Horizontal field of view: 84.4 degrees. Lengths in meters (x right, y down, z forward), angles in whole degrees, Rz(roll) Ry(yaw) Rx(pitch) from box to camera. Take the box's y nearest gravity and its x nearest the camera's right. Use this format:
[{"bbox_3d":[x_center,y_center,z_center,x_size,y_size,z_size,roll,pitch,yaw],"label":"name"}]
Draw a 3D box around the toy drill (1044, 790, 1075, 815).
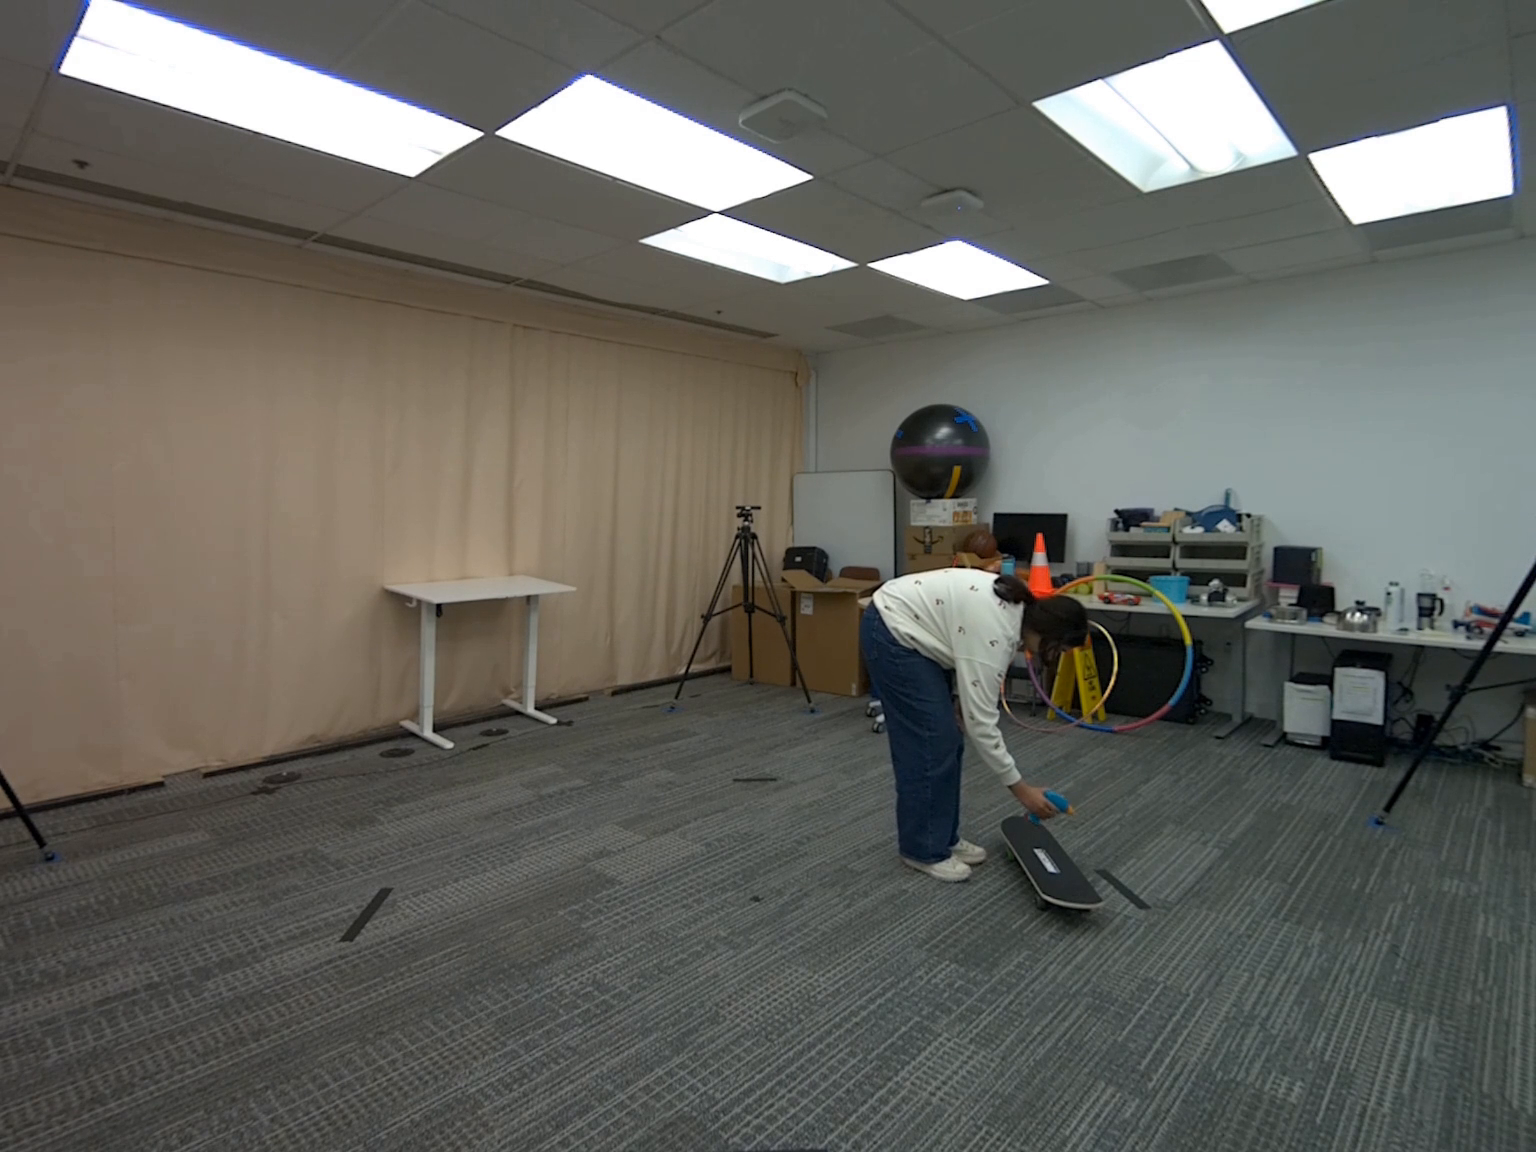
[{"bbox_3d":[1.041,0.855,3.038,0.167,0.146,0.062,36,14,-11],"label":"toy drill"}]
